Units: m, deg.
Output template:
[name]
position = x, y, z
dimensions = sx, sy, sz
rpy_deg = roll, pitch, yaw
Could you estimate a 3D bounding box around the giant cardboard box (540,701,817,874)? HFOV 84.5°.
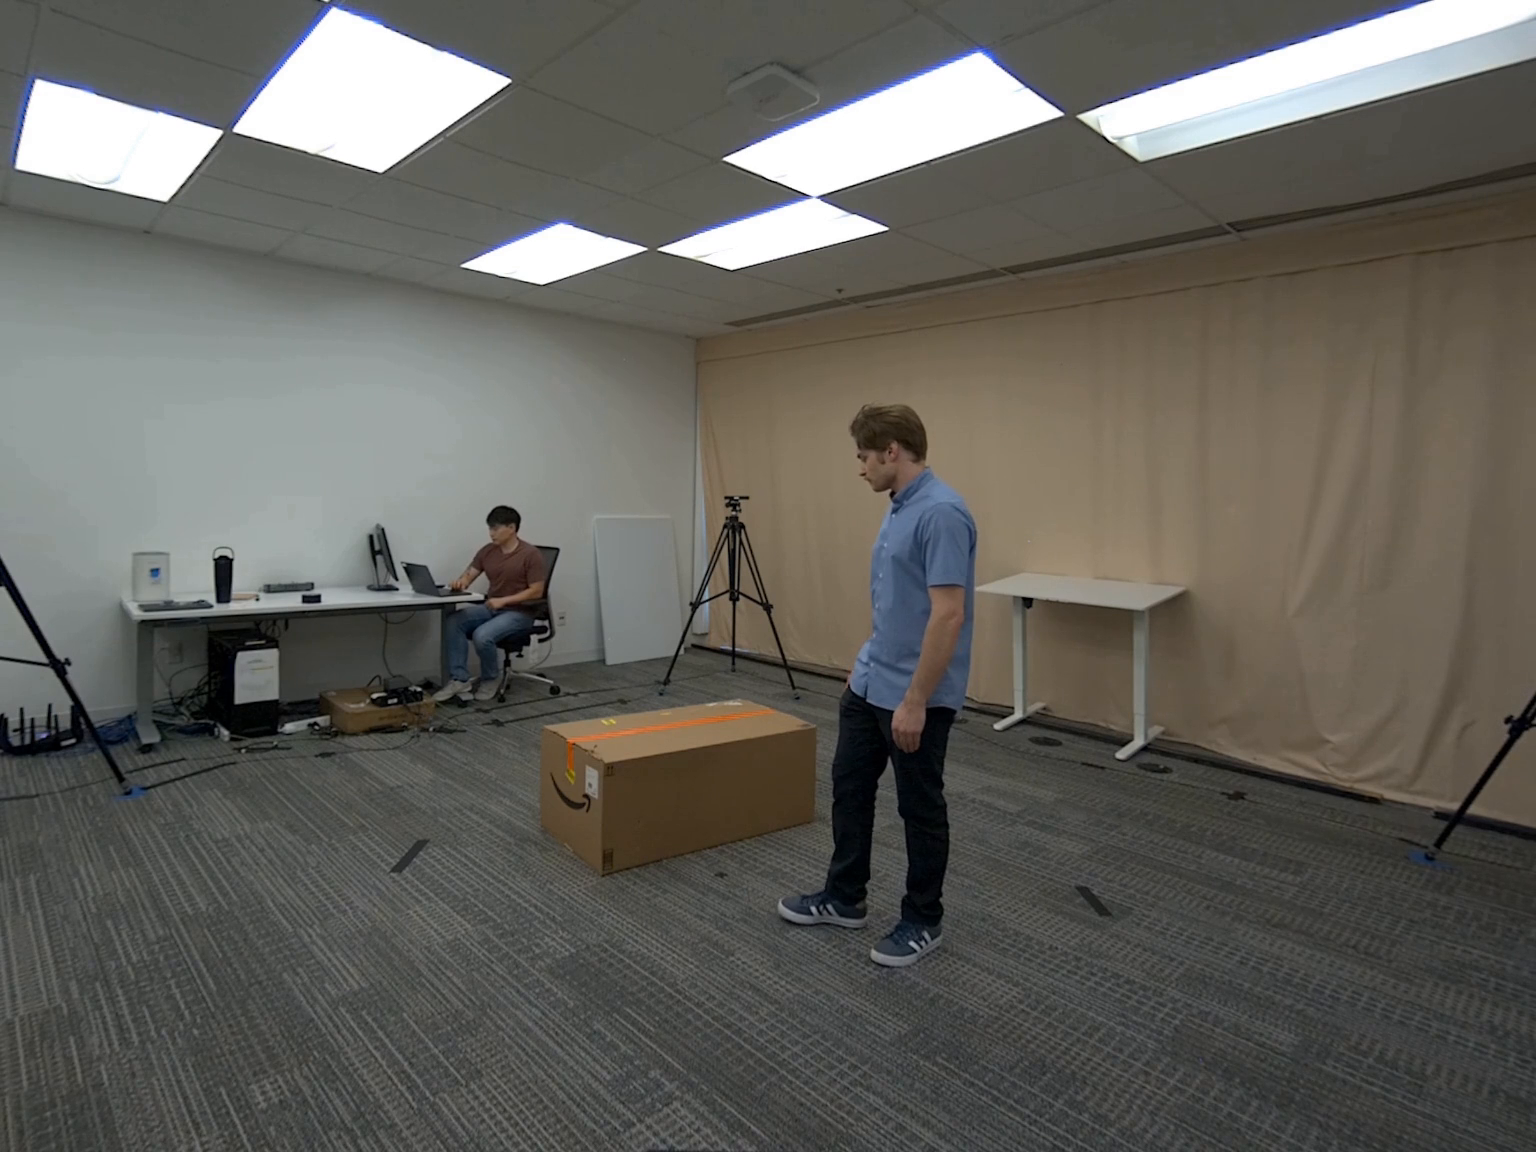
[giant cardboard box]
position = -0.379, 0.845, 3.575
dimensions = 1.004, 0.445, 0.599
rpy_deg = -1, 6, -36
